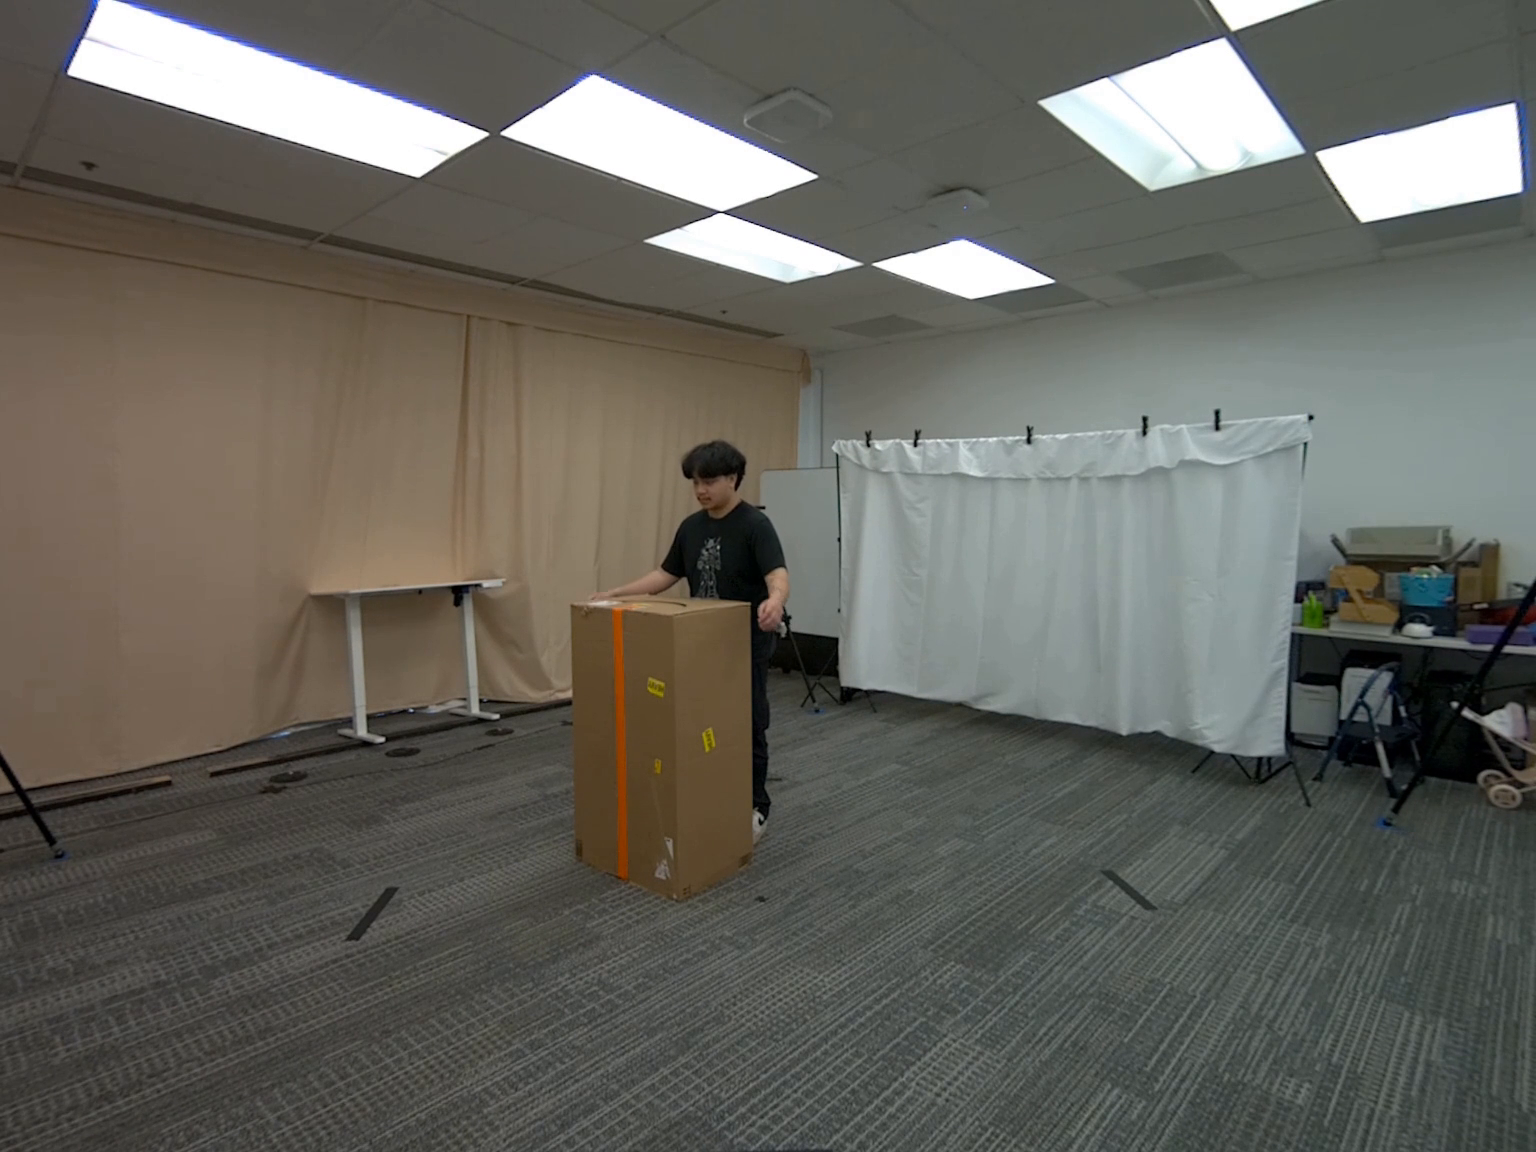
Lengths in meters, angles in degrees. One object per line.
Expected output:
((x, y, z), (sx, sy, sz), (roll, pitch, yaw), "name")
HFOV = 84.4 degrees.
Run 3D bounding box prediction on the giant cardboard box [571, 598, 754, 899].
((-0.418, 0.613, 3.278), (0.603, 1.024, 0.433), (2, 5, 41), "giant cardboard box")
